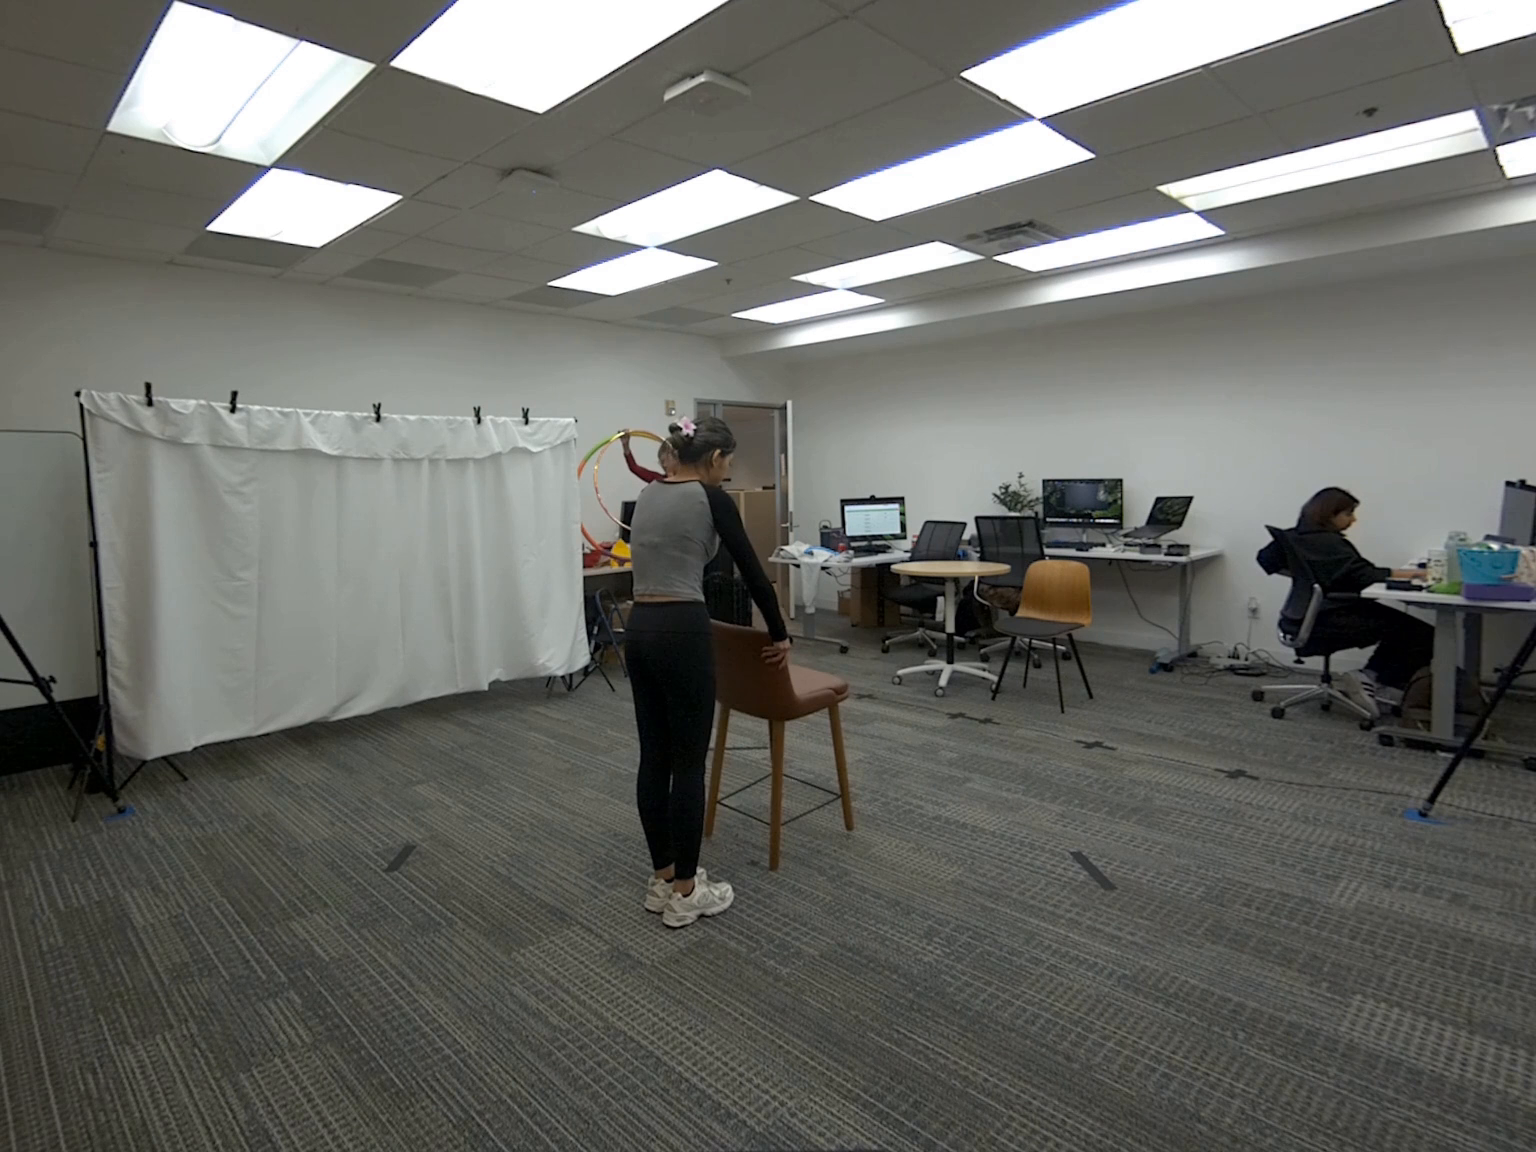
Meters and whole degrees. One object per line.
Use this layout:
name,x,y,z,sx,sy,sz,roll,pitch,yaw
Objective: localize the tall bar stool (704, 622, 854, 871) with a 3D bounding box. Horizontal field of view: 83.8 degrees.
tall bar stool,0.026,0.571,3.264,0.457,0.882,0.471,-11,12,-43
